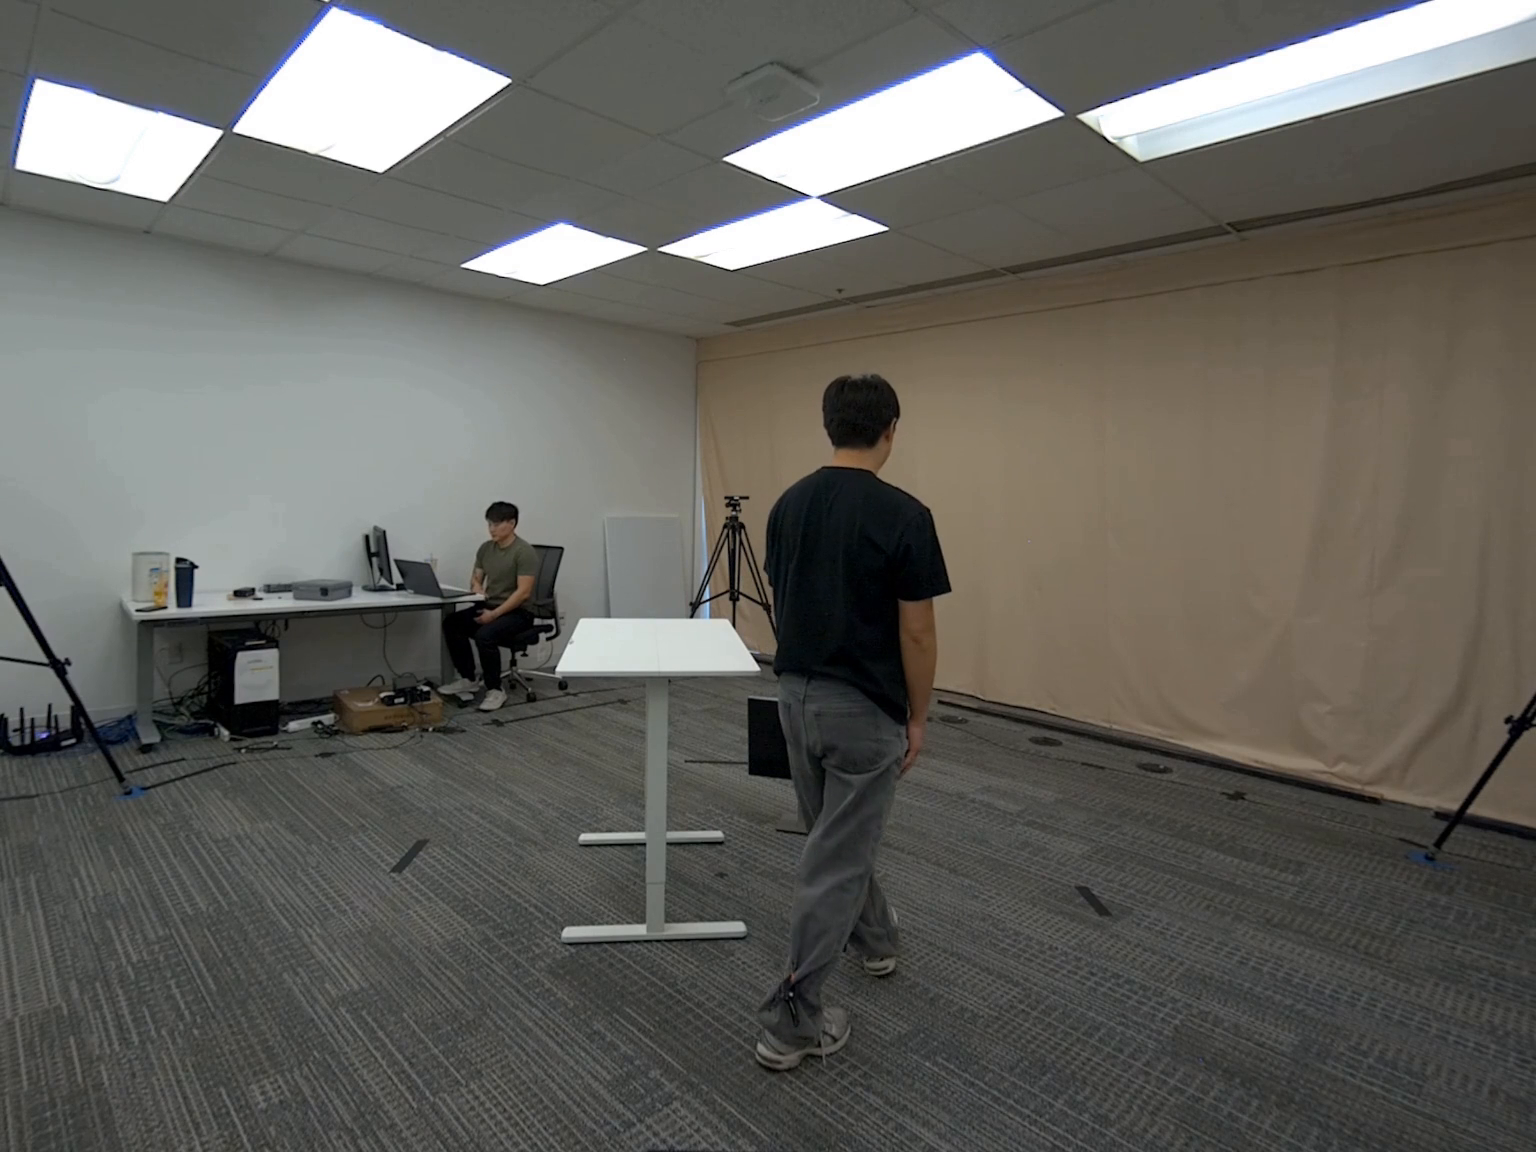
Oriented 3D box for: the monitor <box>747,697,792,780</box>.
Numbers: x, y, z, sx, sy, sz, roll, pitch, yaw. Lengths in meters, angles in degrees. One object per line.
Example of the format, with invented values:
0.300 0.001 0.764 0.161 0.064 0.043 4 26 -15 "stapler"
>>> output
0.168 0.813 3.587 0.570 0.566 0.219 2 -1 18 "monitor"
